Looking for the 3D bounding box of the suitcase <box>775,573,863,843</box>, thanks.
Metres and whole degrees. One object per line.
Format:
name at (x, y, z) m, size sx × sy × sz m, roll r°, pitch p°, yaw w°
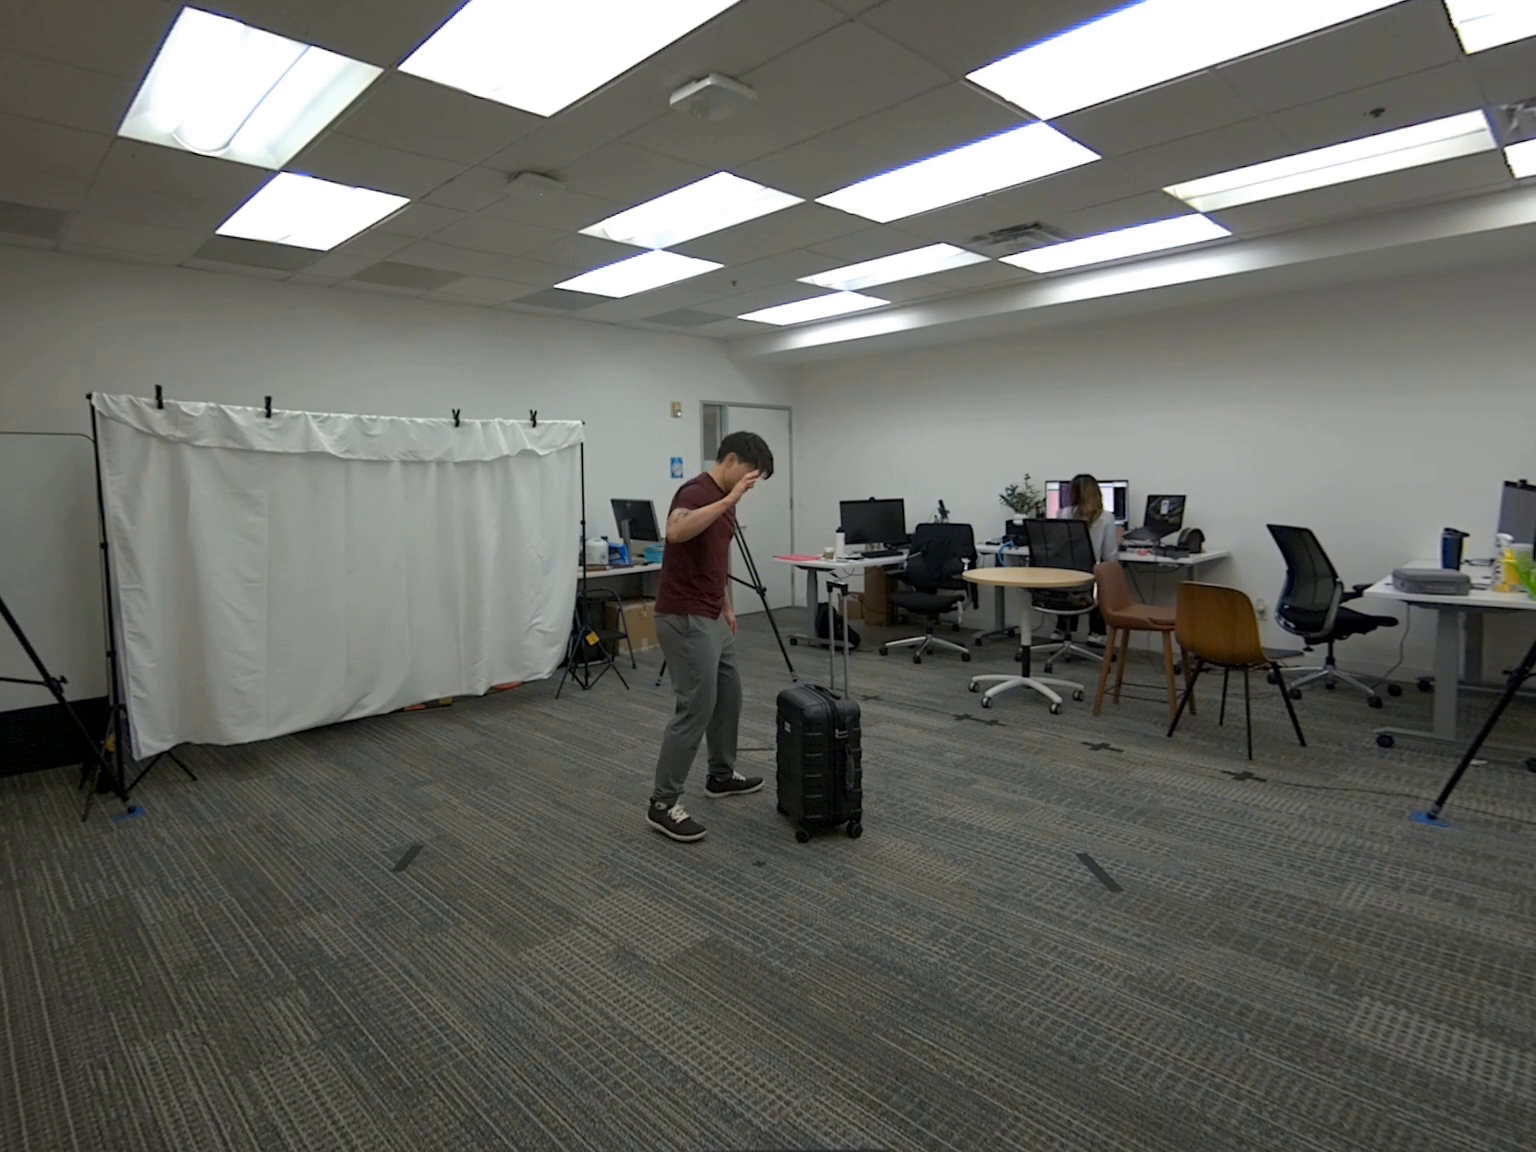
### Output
suitcase at (0.200, 0.533, 3.423) m, size 0.254 × 0.976 × 0.390 m, roll -2°, pitch 3°, yaw -14°
